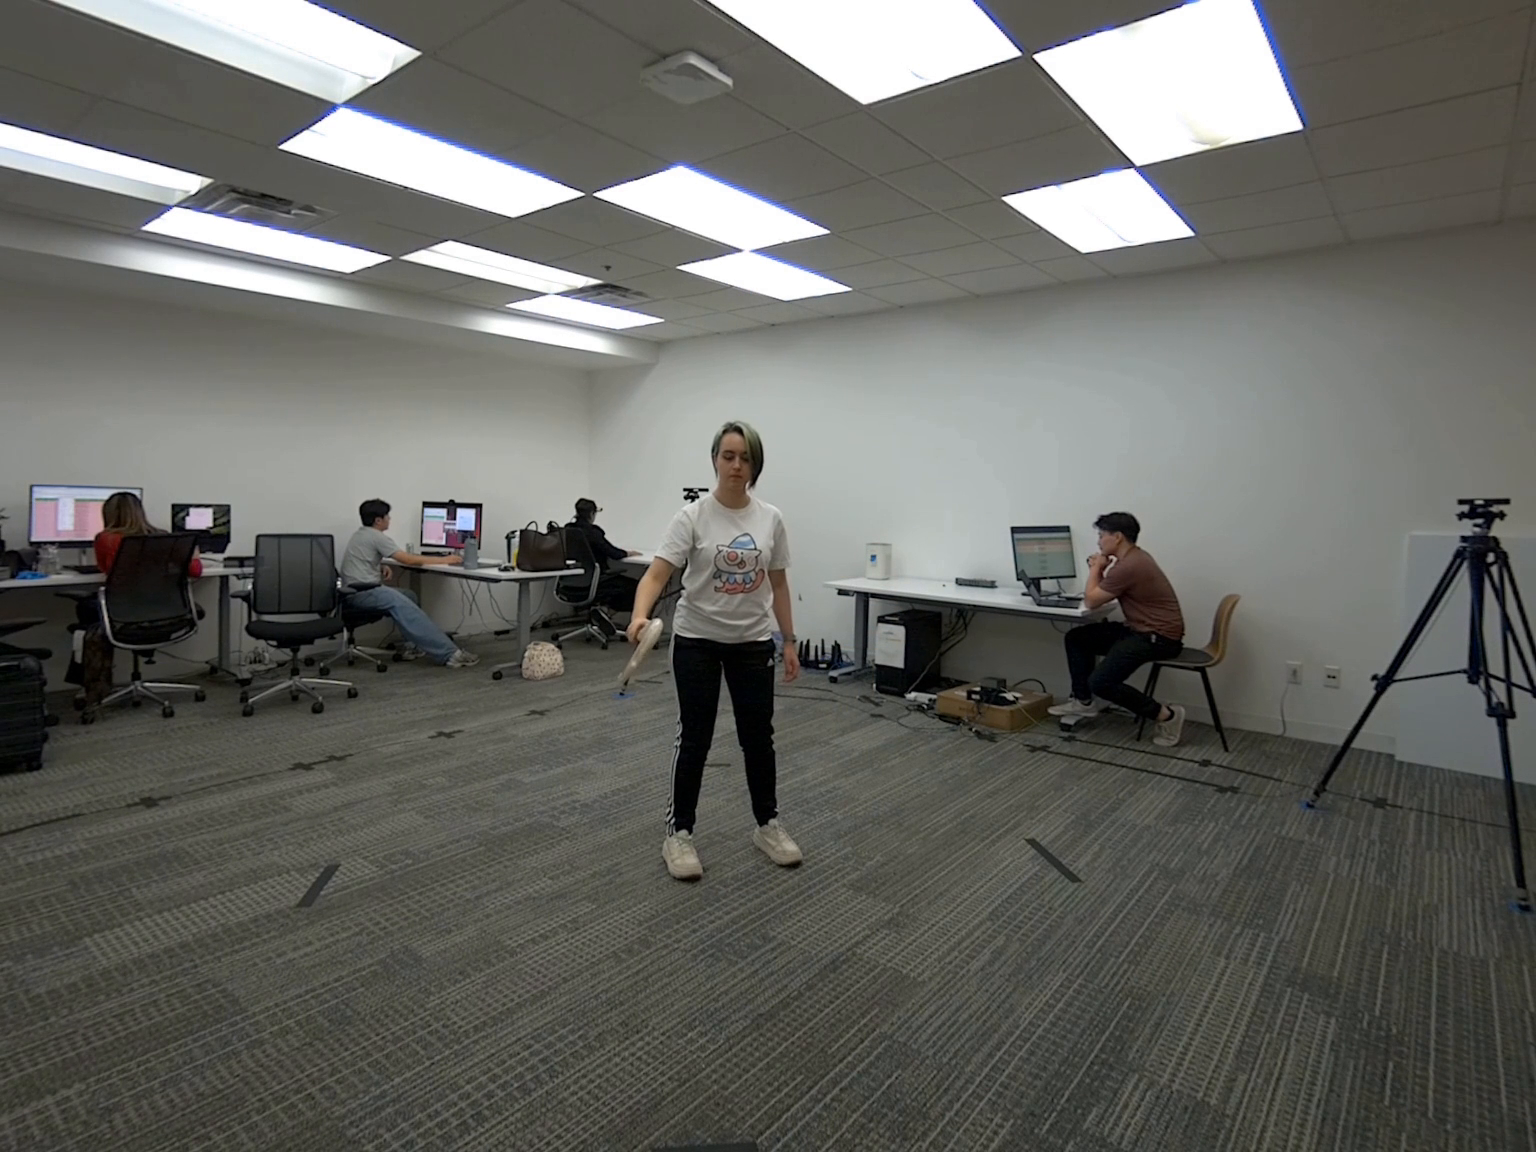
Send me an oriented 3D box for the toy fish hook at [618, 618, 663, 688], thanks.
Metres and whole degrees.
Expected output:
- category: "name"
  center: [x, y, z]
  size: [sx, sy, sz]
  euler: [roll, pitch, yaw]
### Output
- category: "toy fish hook"
  center: [-0.398, 0.212, 2.615]
  size: [0.048, 0.225, 0.509]
  euler: [36, -11, -8]
